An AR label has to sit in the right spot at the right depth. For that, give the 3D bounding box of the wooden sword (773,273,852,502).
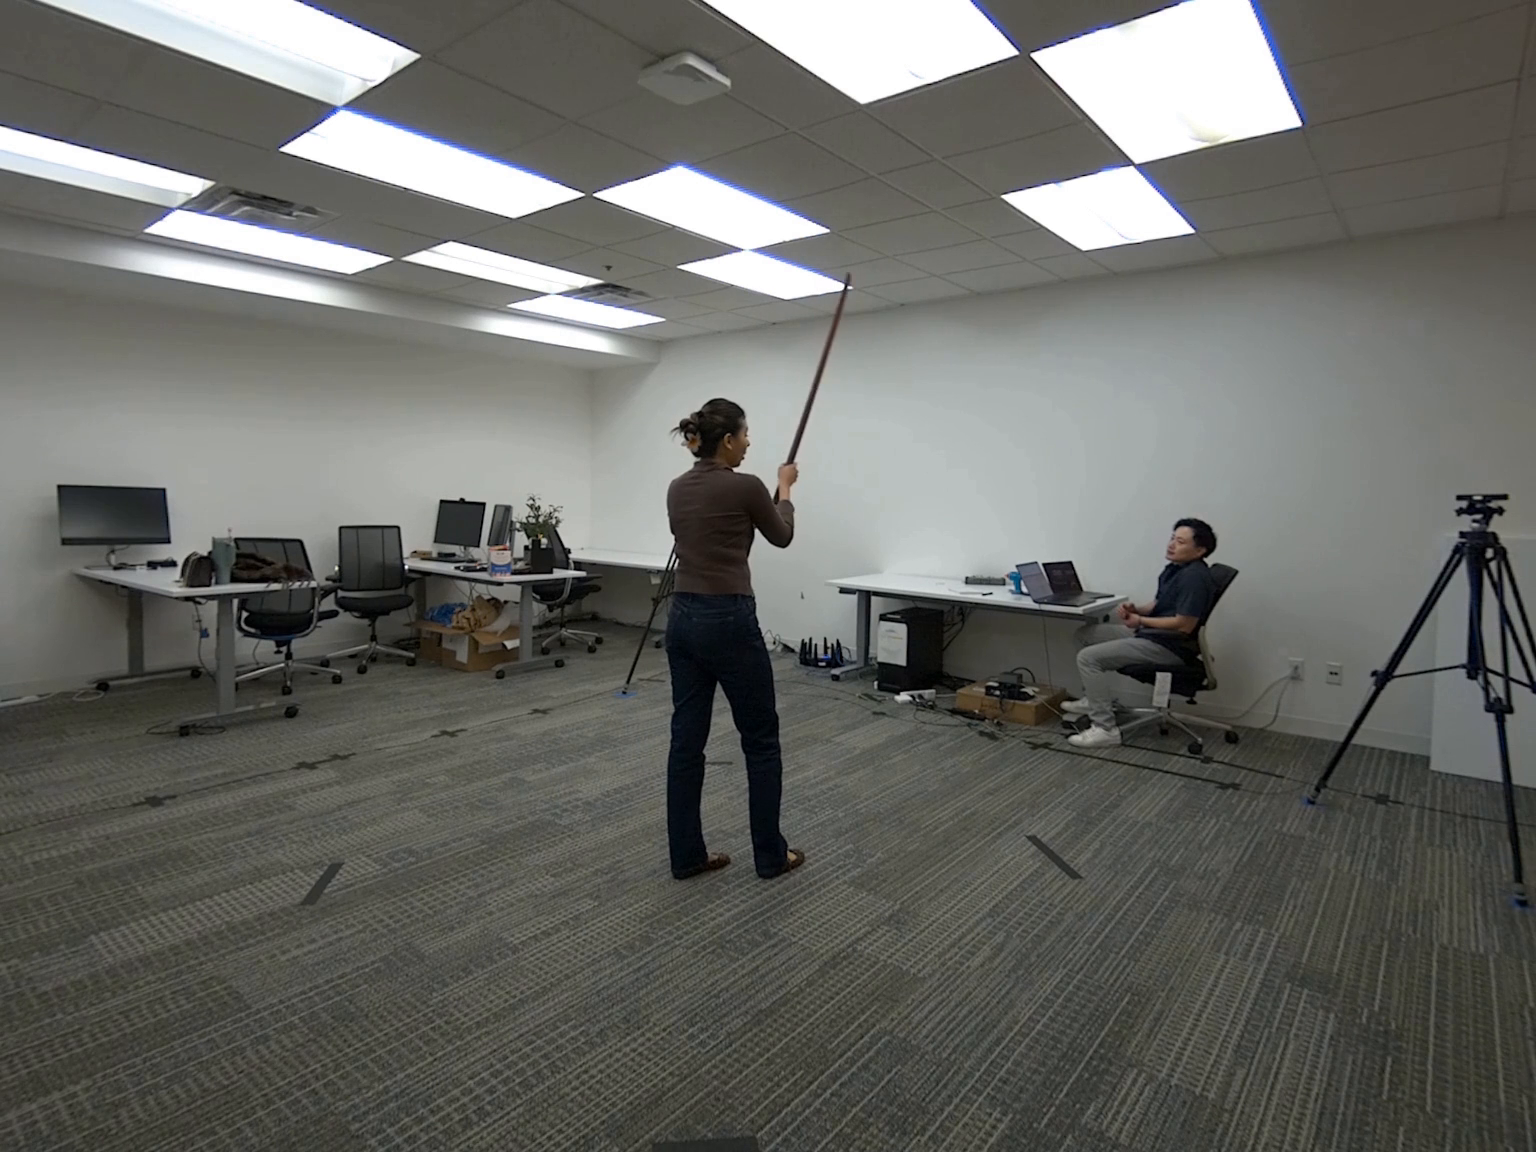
[{"bbox_3d":[0.146,-0.661,3.289,0.050,1.020,0.025,16,7,-16],"label":"wooden sword"}]
